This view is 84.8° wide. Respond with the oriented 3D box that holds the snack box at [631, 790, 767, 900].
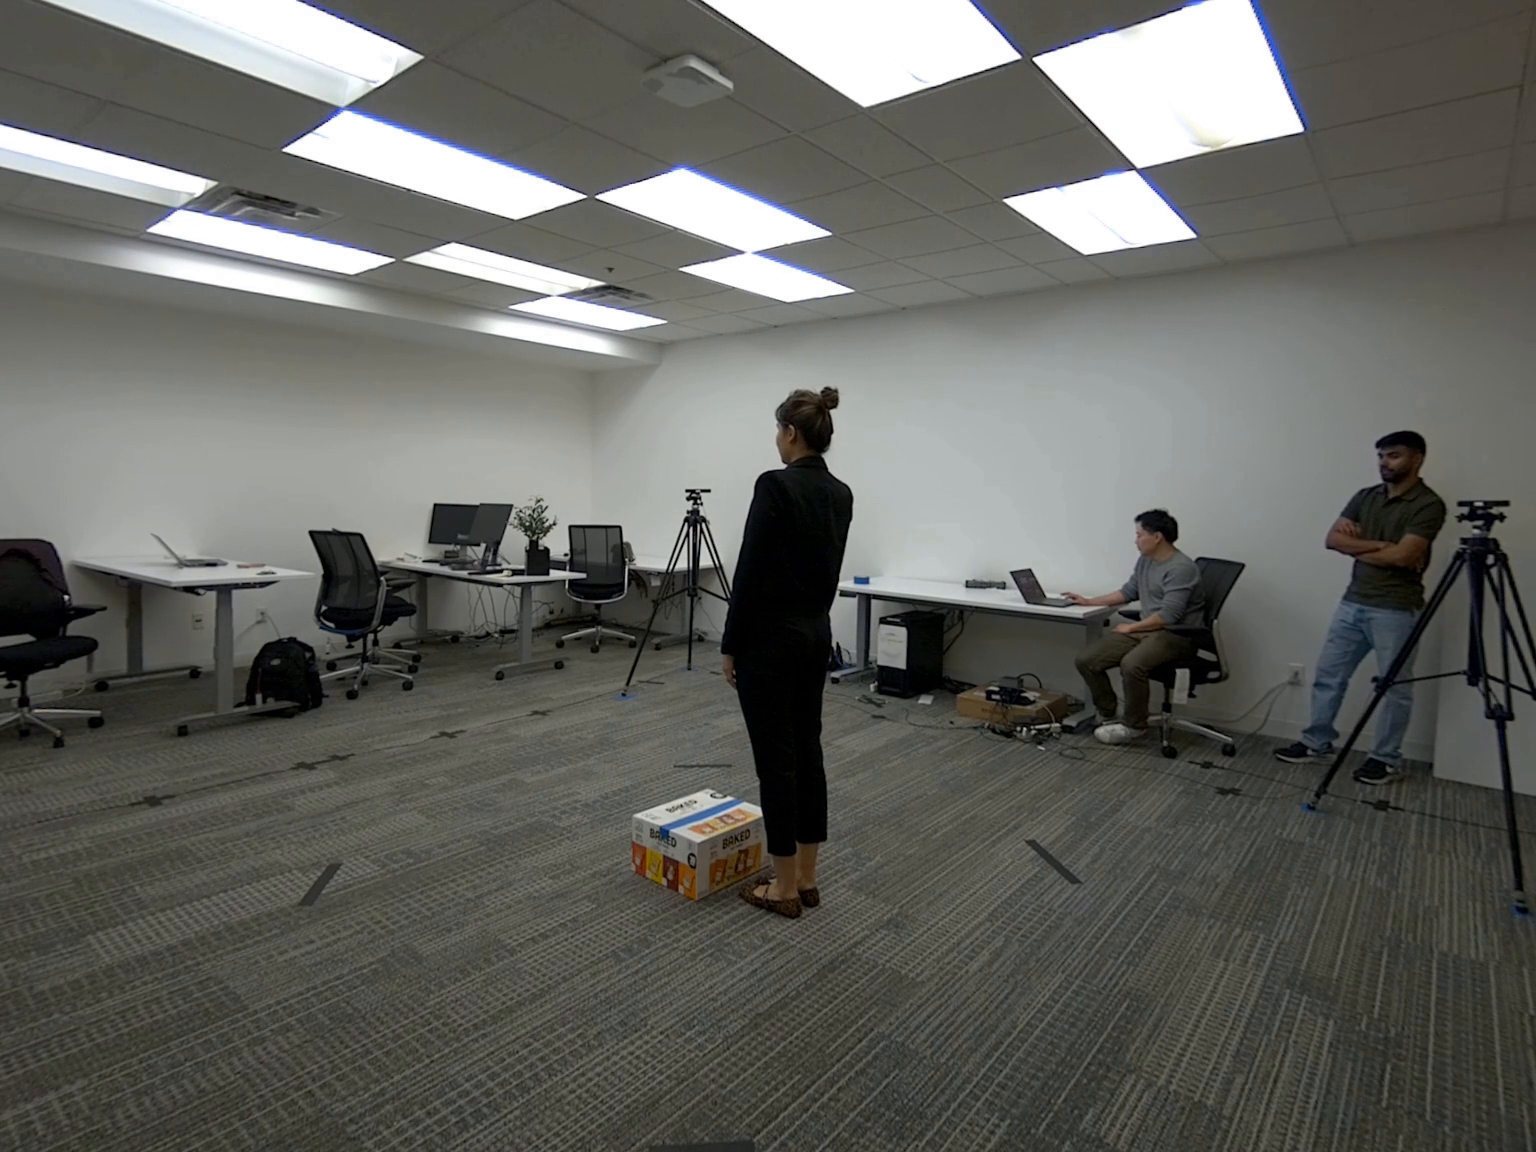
[{"bbox_3d":[-0.251,0.970,3.124,0.352,0.205,0.393,5,7,41],"label":"snack box"}]
